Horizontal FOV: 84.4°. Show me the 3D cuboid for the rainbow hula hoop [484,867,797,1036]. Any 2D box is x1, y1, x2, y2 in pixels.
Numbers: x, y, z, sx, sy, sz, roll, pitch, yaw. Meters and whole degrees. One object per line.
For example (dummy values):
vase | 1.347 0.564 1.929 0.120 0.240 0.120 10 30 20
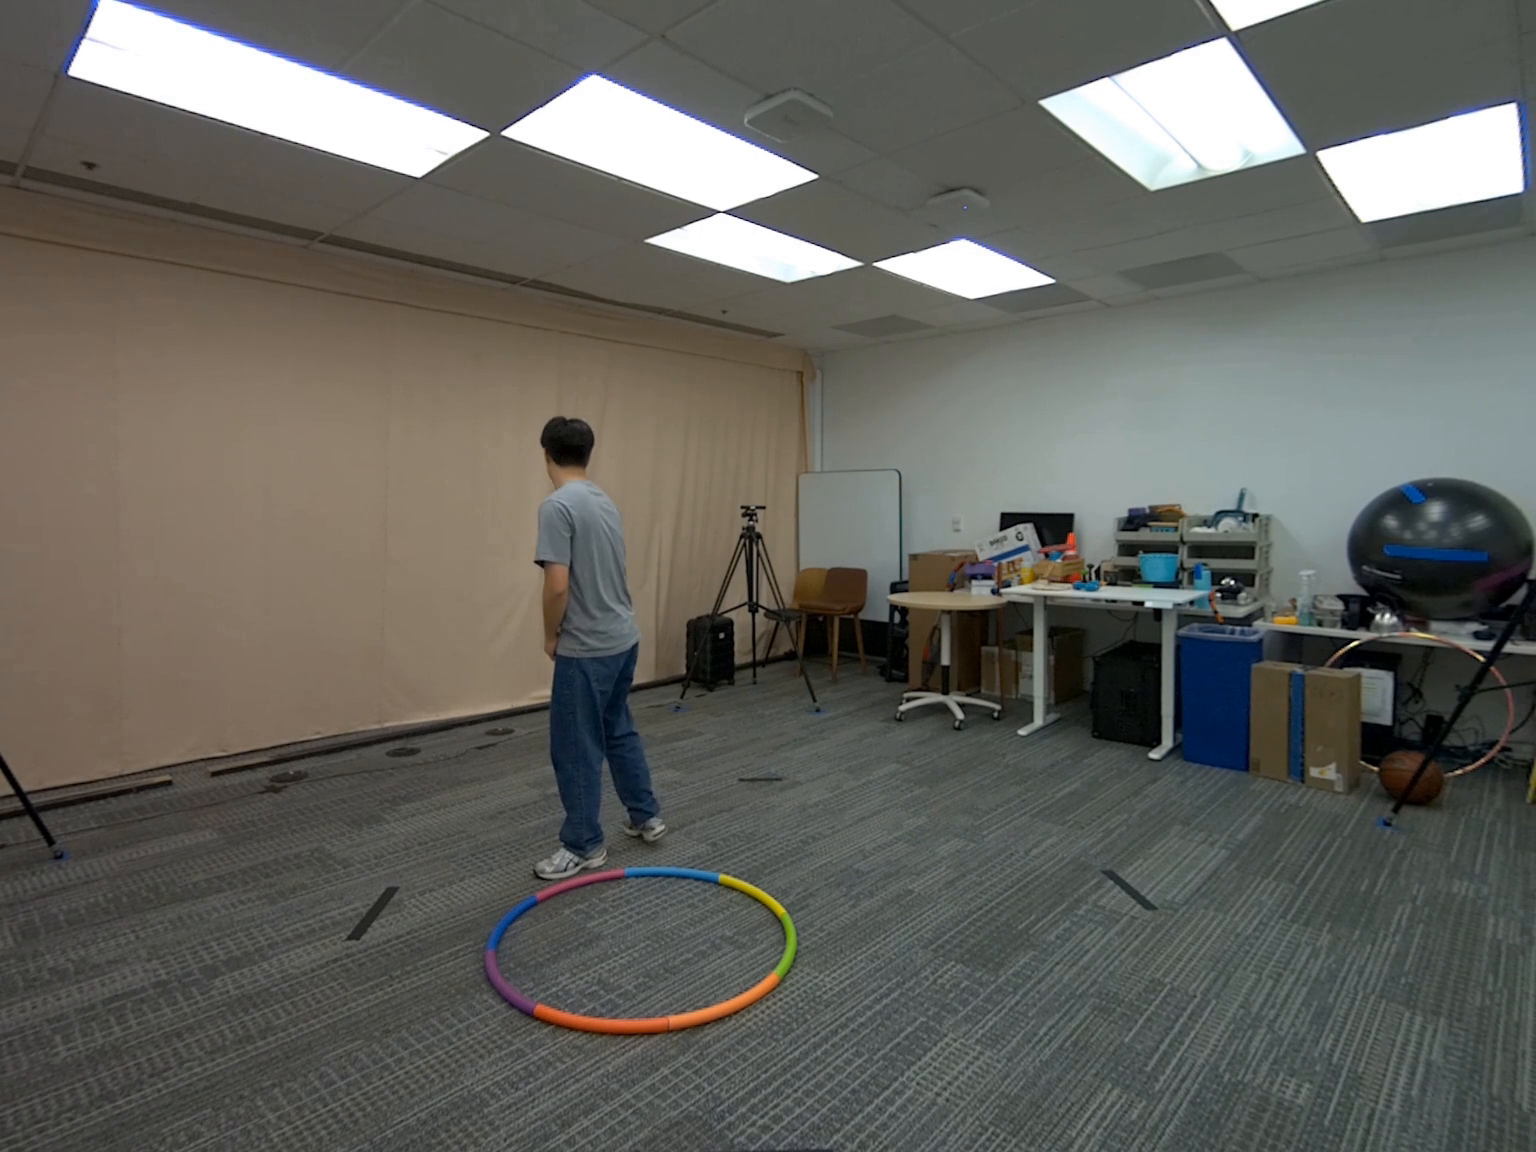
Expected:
rainbow hula hoop | -0.394 1.143 2.704 0.978 0.035 0.982 -1 4 -2
